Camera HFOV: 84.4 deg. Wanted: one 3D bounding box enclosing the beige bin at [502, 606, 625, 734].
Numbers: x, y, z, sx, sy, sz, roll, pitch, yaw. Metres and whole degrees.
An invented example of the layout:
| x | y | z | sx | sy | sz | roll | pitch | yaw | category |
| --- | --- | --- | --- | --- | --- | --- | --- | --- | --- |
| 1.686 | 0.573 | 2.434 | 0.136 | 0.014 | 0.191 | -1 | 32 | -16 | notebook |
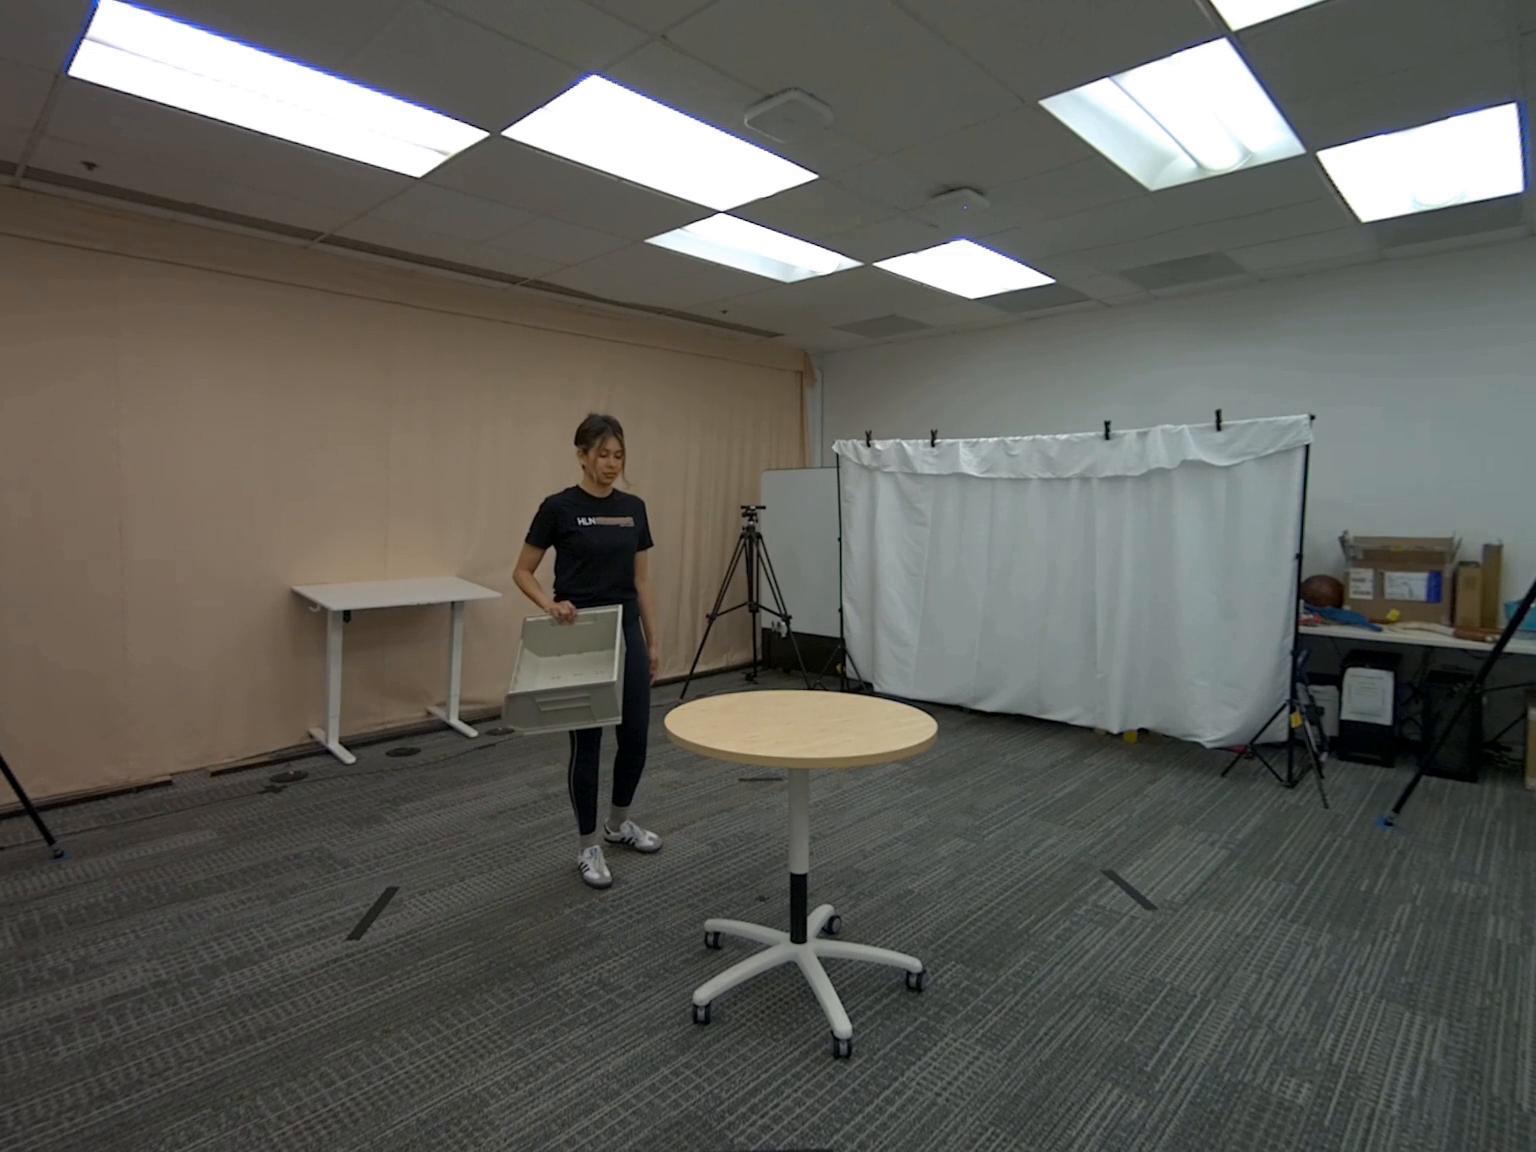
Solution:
| x | y | z | sx | sy | sz | roll | pitch | yaw | category |
| --- | --- | --- | --- | --- | --- | --- | --- | --- | --- |
| -0.665 | 0.301 | 2.801 | 0.376 | 0.186 | 0.431 | -5 | 30 | -3 | beige bin |
